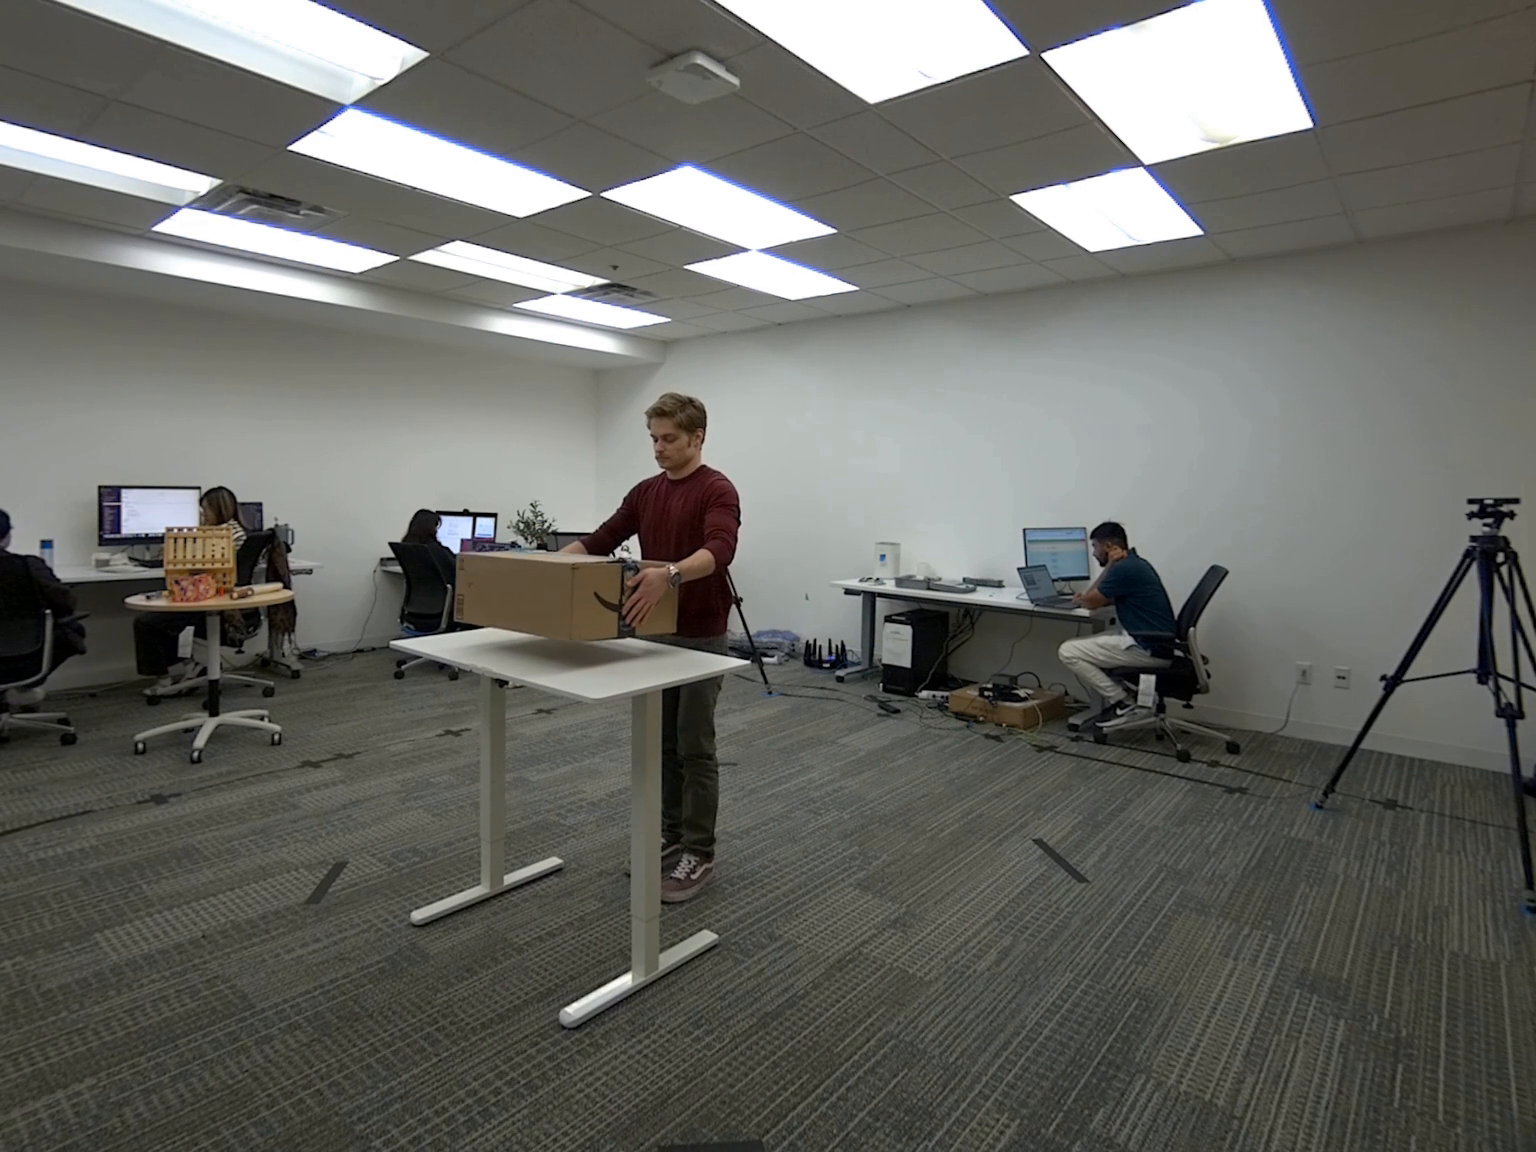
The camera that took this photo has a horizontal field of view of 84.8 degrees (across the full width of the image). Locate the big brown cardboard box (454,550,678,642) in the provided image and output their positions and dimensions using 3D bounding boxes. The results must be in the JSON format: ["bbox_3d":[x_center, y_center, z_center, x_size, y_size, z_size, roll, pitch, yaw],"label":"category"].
[{"bbox_3d":[-0.625,0.047,2.624,0.608,0.233,0.404,4,3,39],"label":"big brown cardboard box"}]
